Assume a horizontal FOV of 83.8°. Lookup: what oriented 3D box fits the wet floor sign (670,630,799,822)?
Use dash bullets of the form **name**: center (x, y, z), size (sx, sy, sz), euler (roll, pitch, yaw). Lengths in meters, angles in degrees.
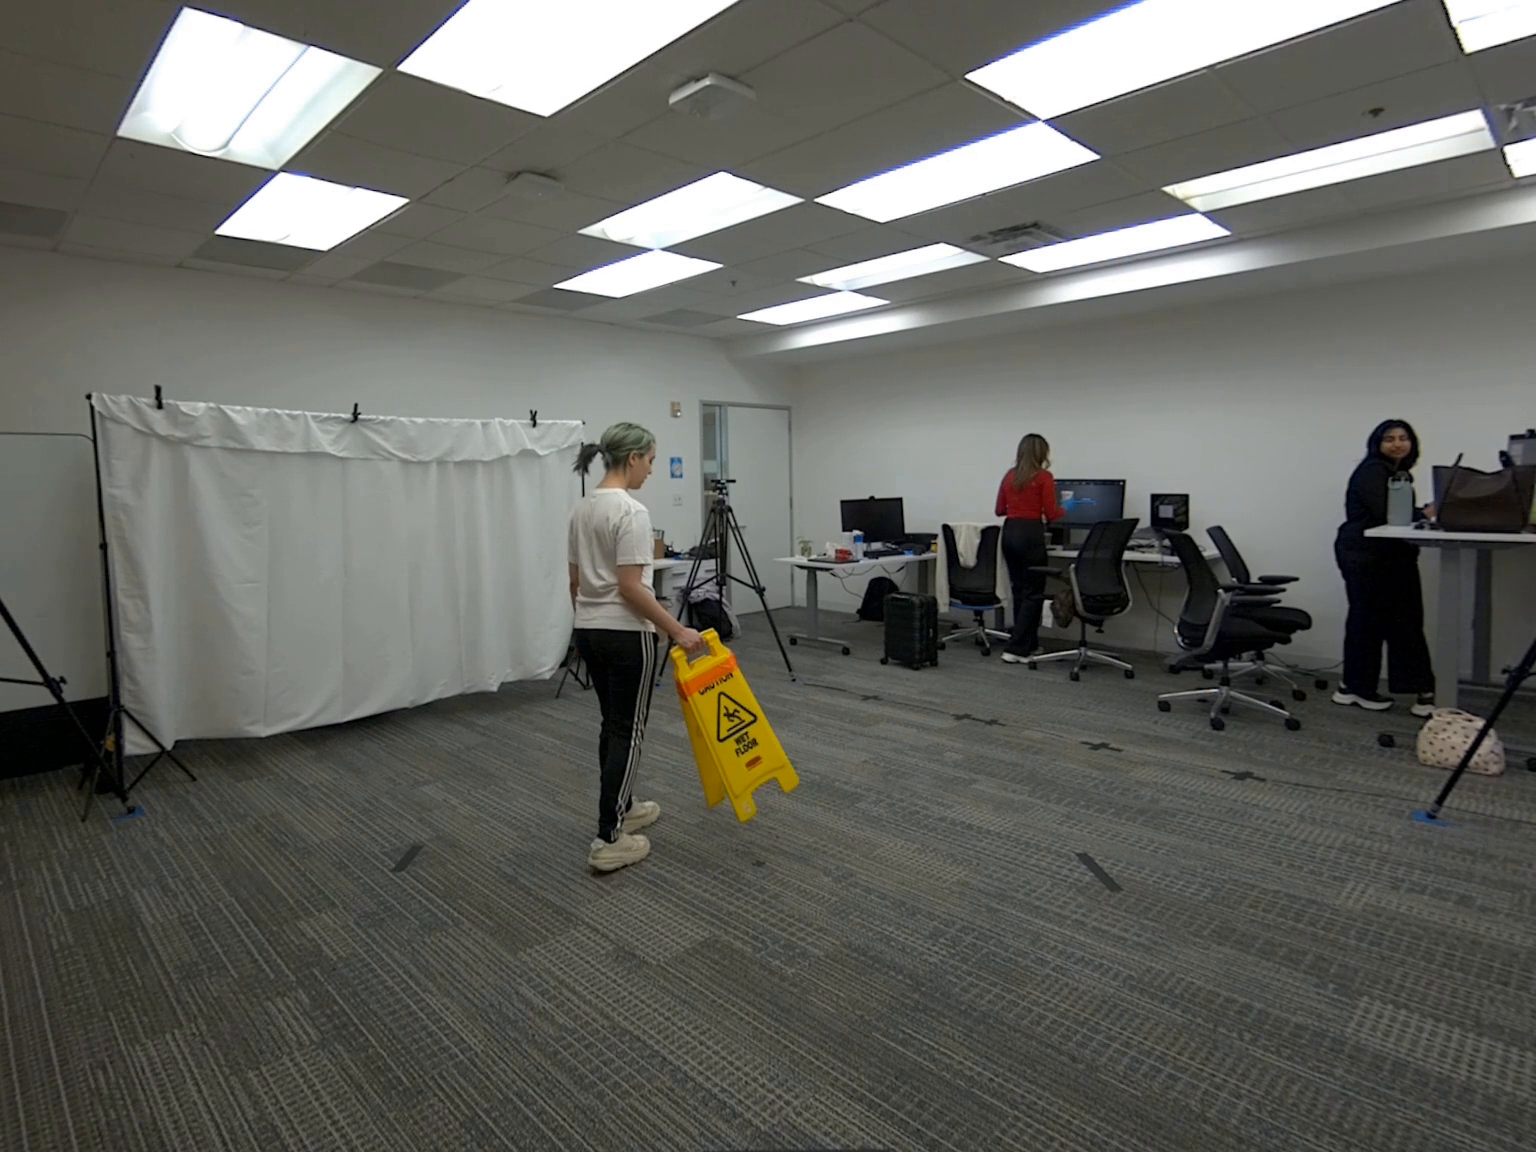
- **wet floor sign**: center (-0.169, 0.527, 3.163), size (0.278, 0.639, 0.296), euler (-24, 10, -28)
